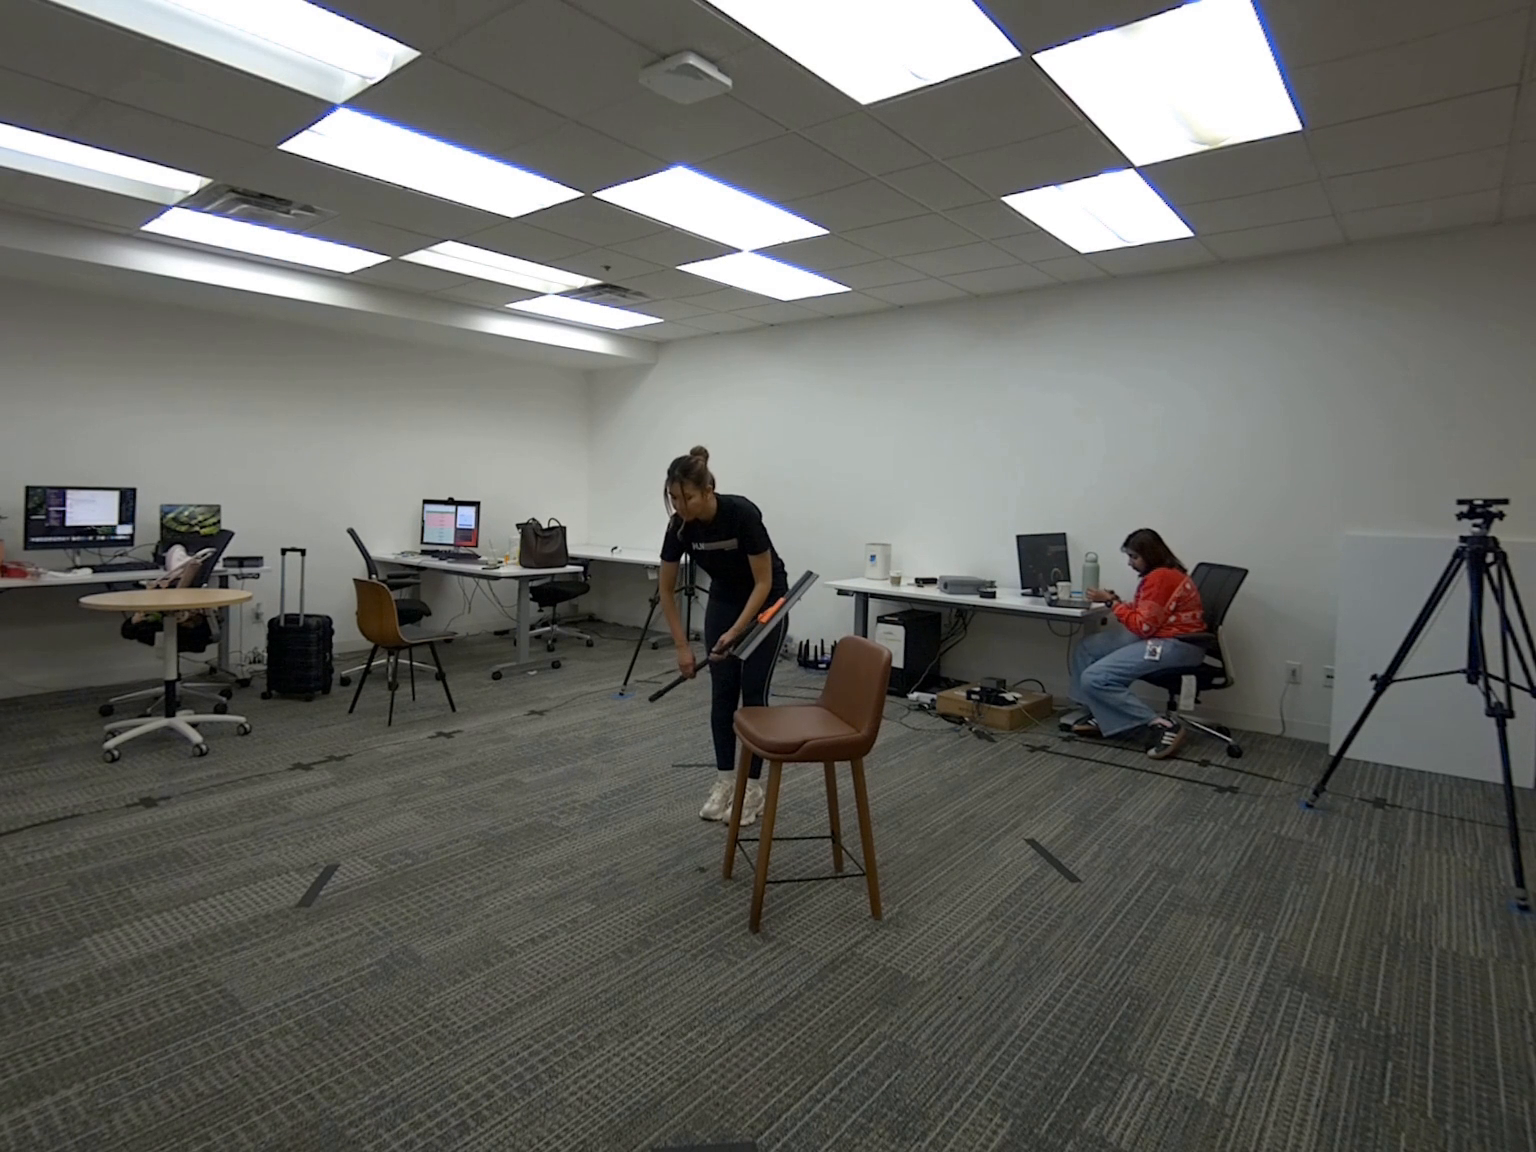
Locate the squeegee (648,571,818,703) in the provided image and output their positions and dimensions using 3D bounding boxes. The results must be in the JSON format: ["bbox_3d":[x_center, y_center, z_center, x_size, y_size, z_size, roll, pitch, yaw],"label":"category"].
[{"bbox_3d":[-0.312,0.366,3.489,0.052,0.438,1.546,41,-30,-8],"label":"squeegee"}]
